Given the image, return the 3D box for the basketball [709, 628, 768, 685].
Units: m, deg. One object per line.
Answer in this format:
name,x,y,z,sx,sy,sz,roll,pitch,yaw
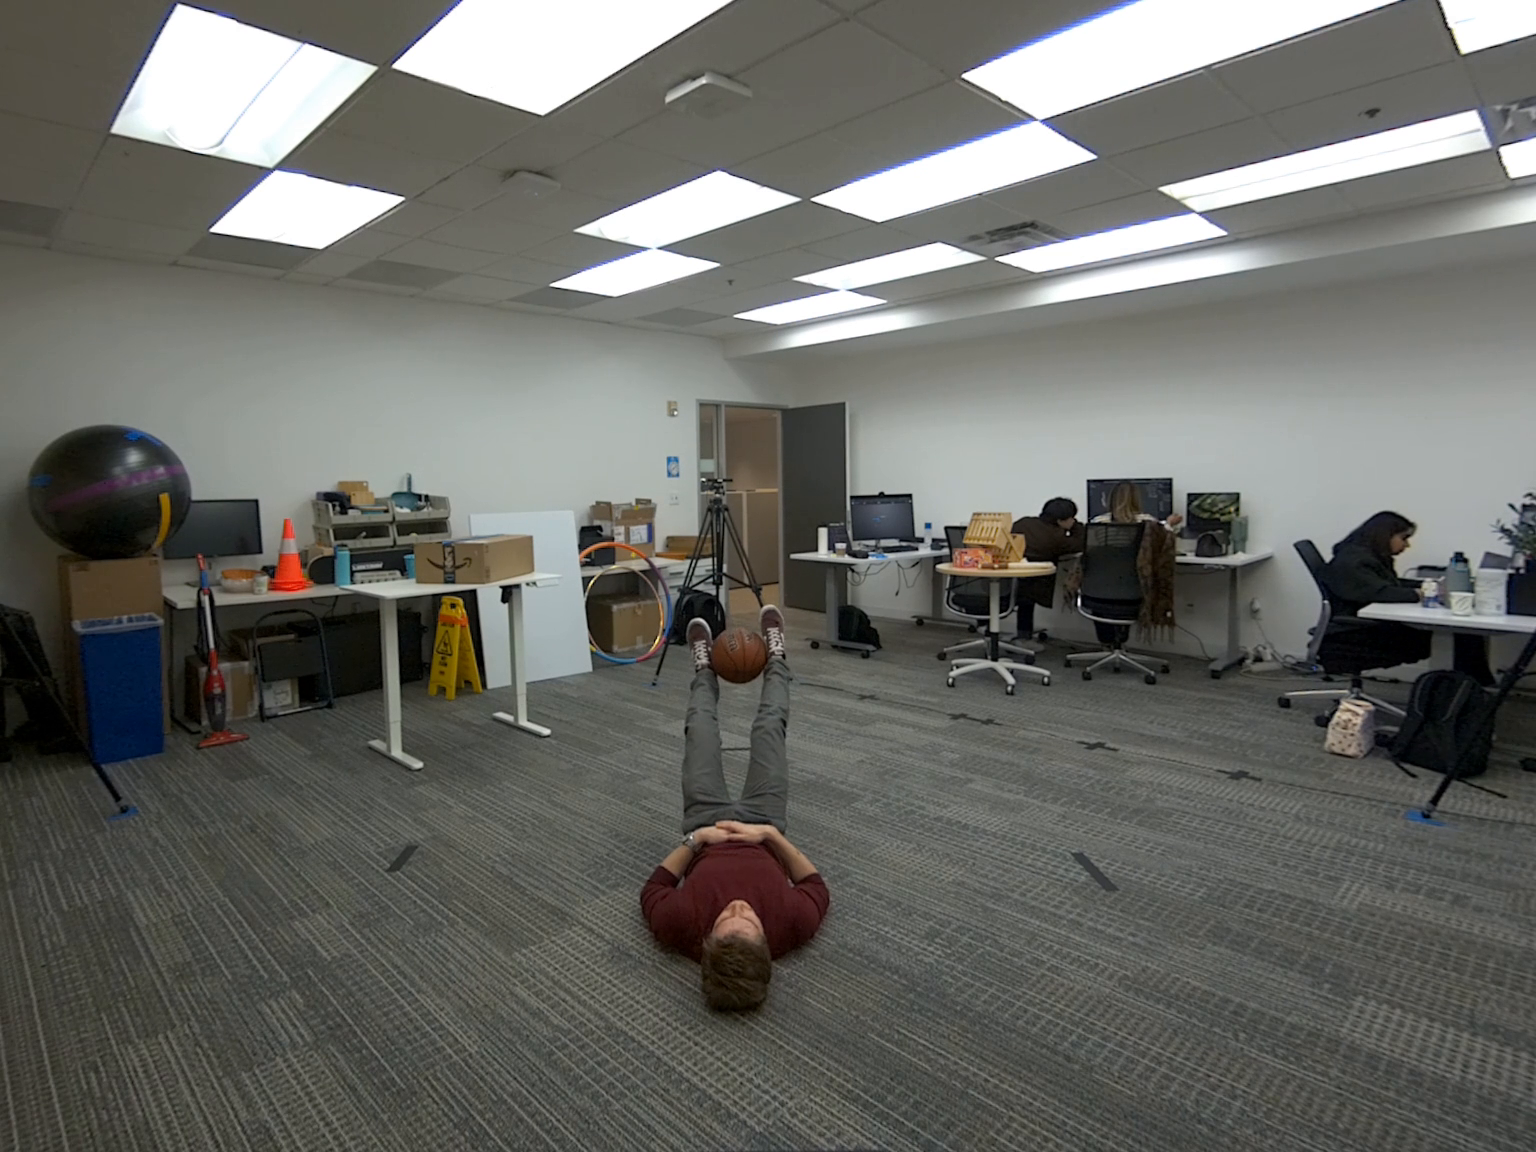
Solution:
basketball,-0.113,0.331,3.615,0.236,0.236,0.236,0,1,-2
